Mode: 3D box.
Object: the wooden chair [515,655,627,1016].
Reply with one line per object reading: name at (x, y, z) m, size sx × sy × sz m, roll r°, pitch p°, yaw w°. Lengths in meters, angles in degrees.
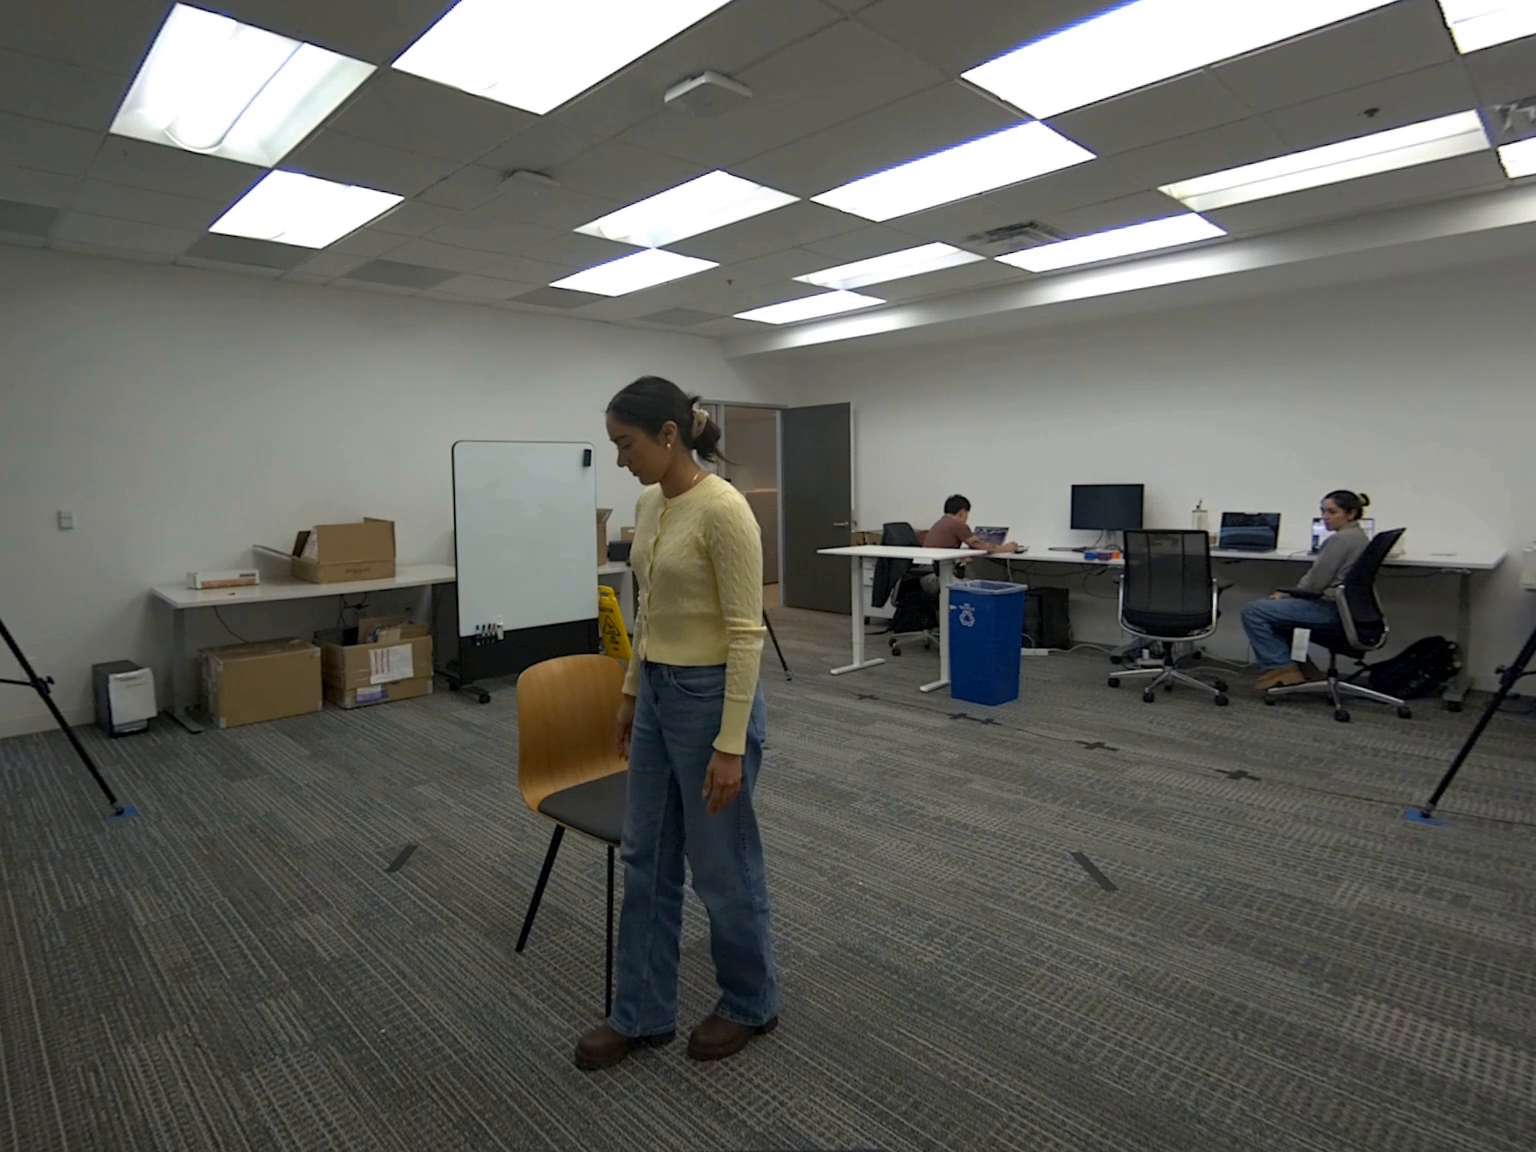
wooden chair at (-0.435, 0.693, 2.514) m, size 0.538 × 0.876 × 0.465 m, roll -2°, pitch 2°, yaw 43°
